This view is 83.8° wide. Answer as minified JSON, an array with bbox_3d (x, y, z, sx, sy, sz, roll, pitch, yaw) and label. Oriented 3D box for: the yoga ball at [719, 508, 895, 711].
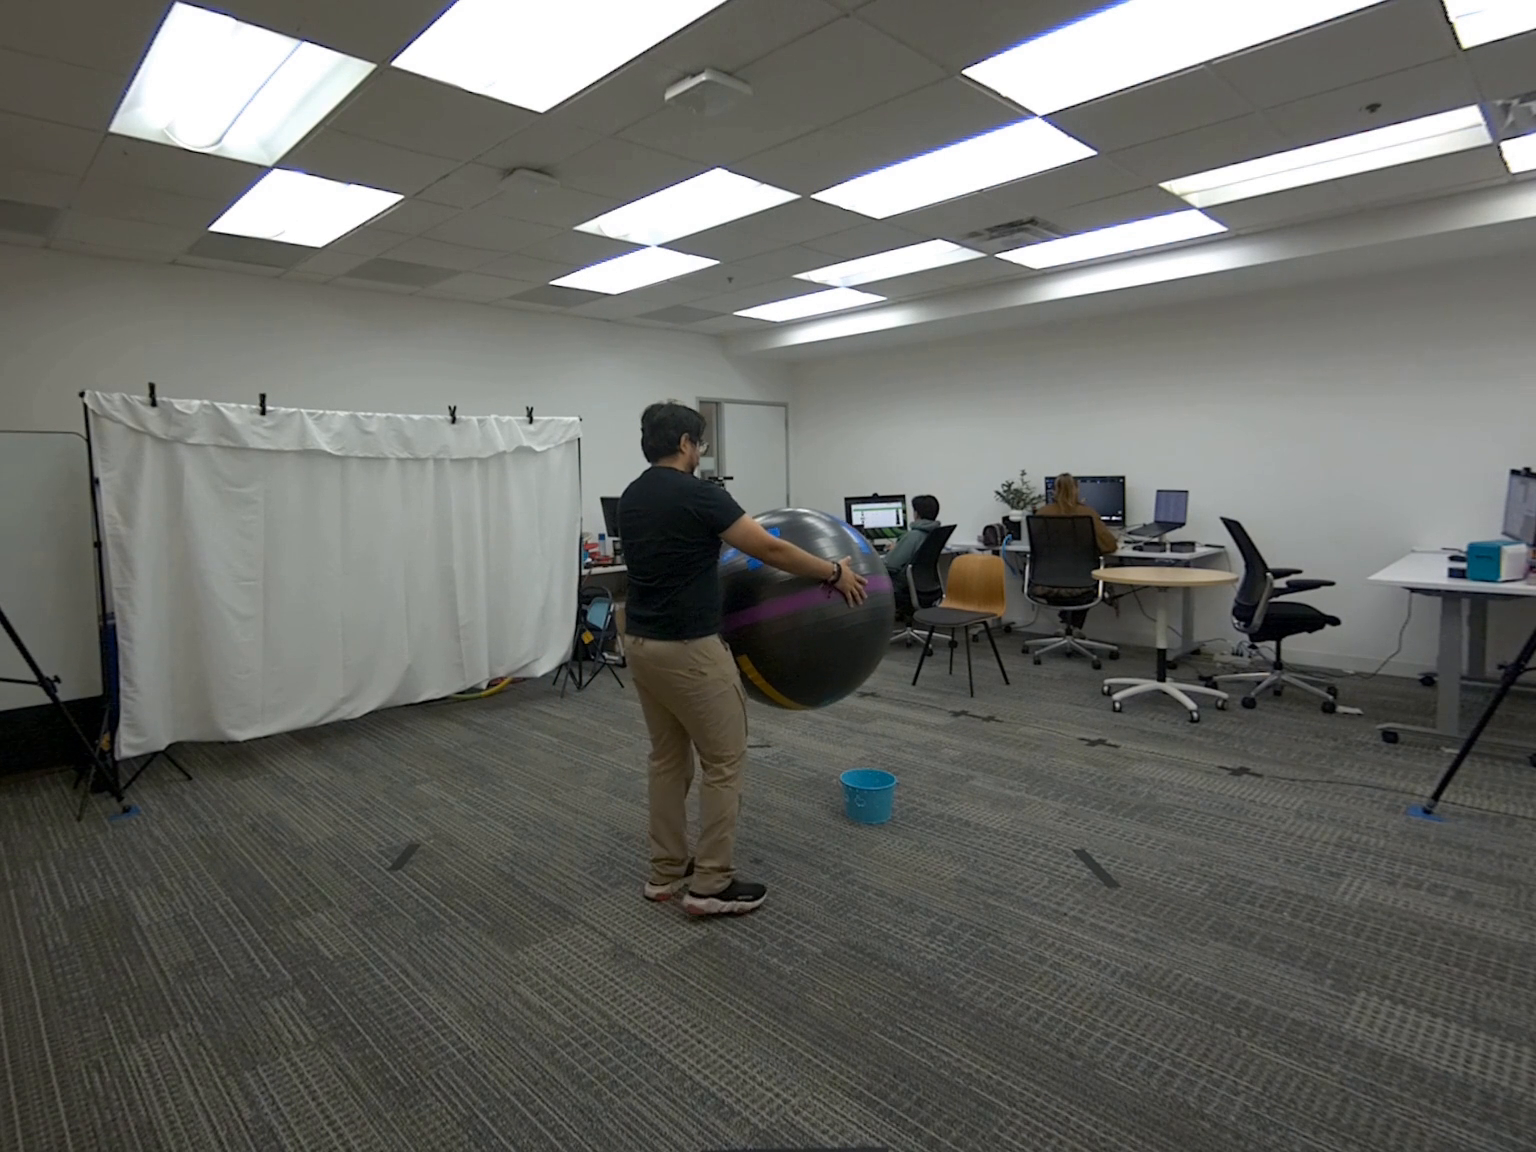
[{"bbox_3d":[0.105,0.125,3.251,0.757,0.755,0.762,-1,5,-2],"label":"yoga ball"}]
